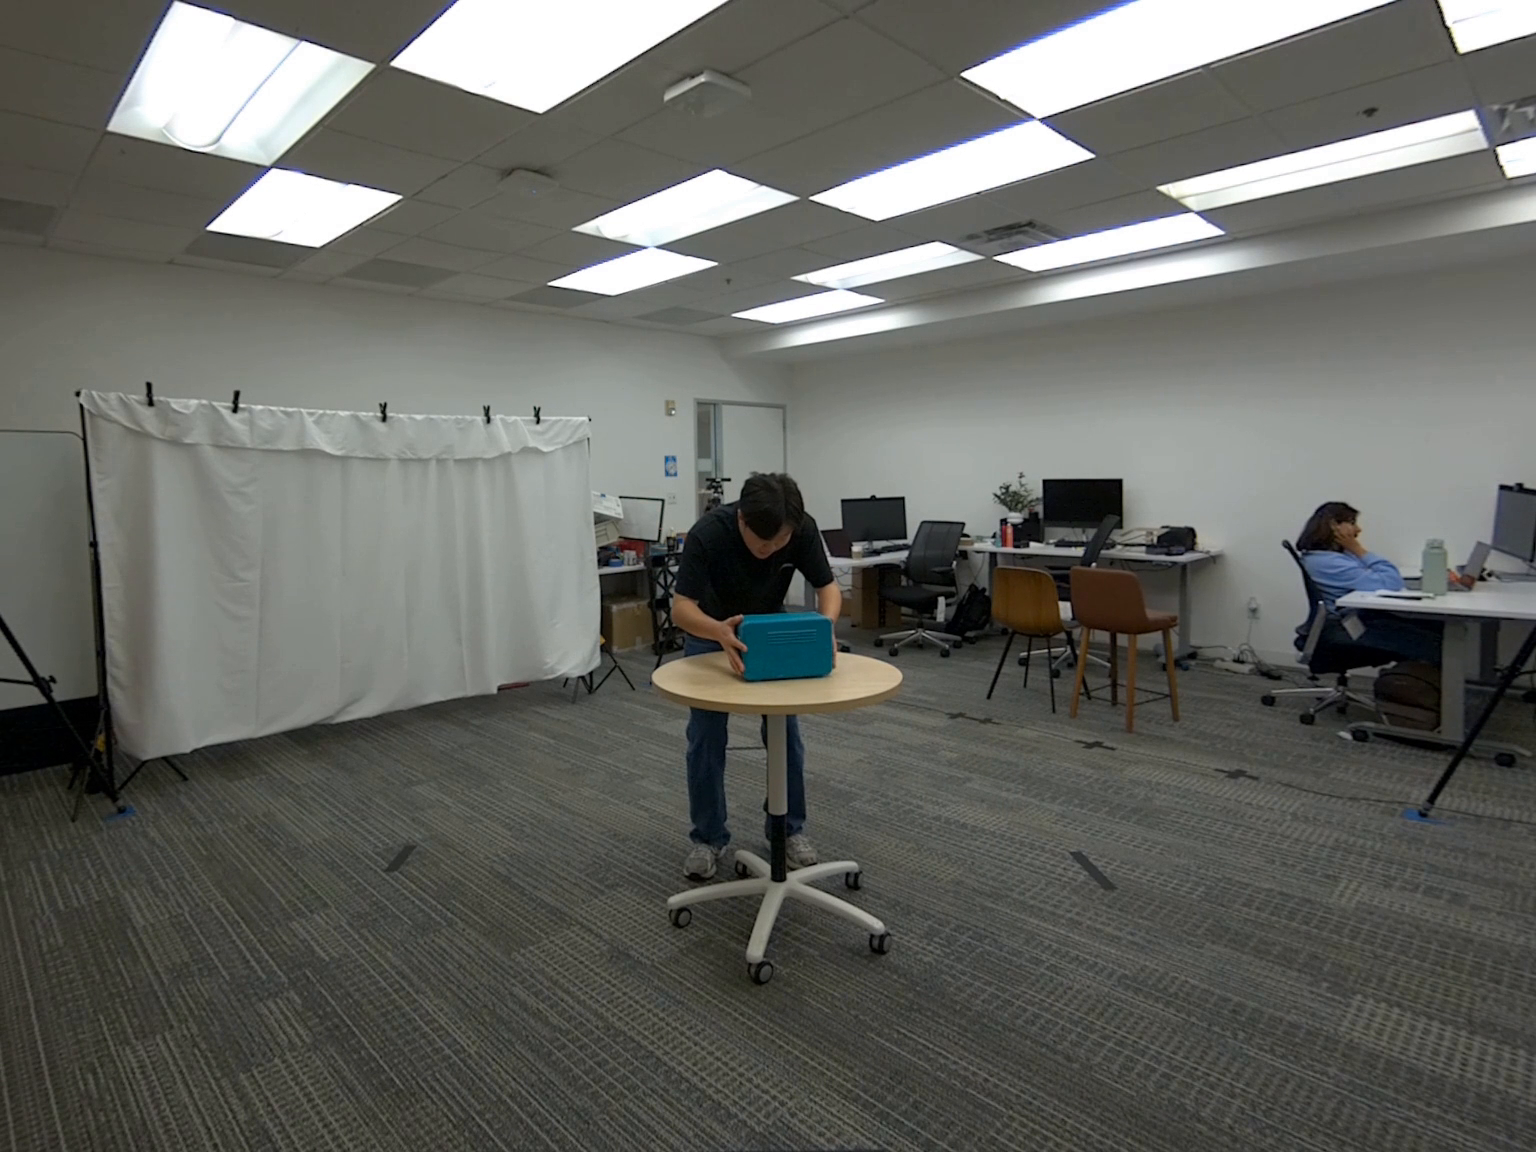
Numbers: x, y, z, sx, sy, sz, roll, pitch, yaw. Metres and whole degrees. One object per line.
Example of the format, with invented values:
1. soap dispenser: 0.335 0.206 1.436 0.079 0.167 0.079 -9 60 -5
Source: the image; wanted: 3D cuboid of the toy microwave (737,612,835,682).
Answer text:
1. toy microwave: 0.036 0.215 2.598 0.282 0.184 0.154 -2 2 -14
